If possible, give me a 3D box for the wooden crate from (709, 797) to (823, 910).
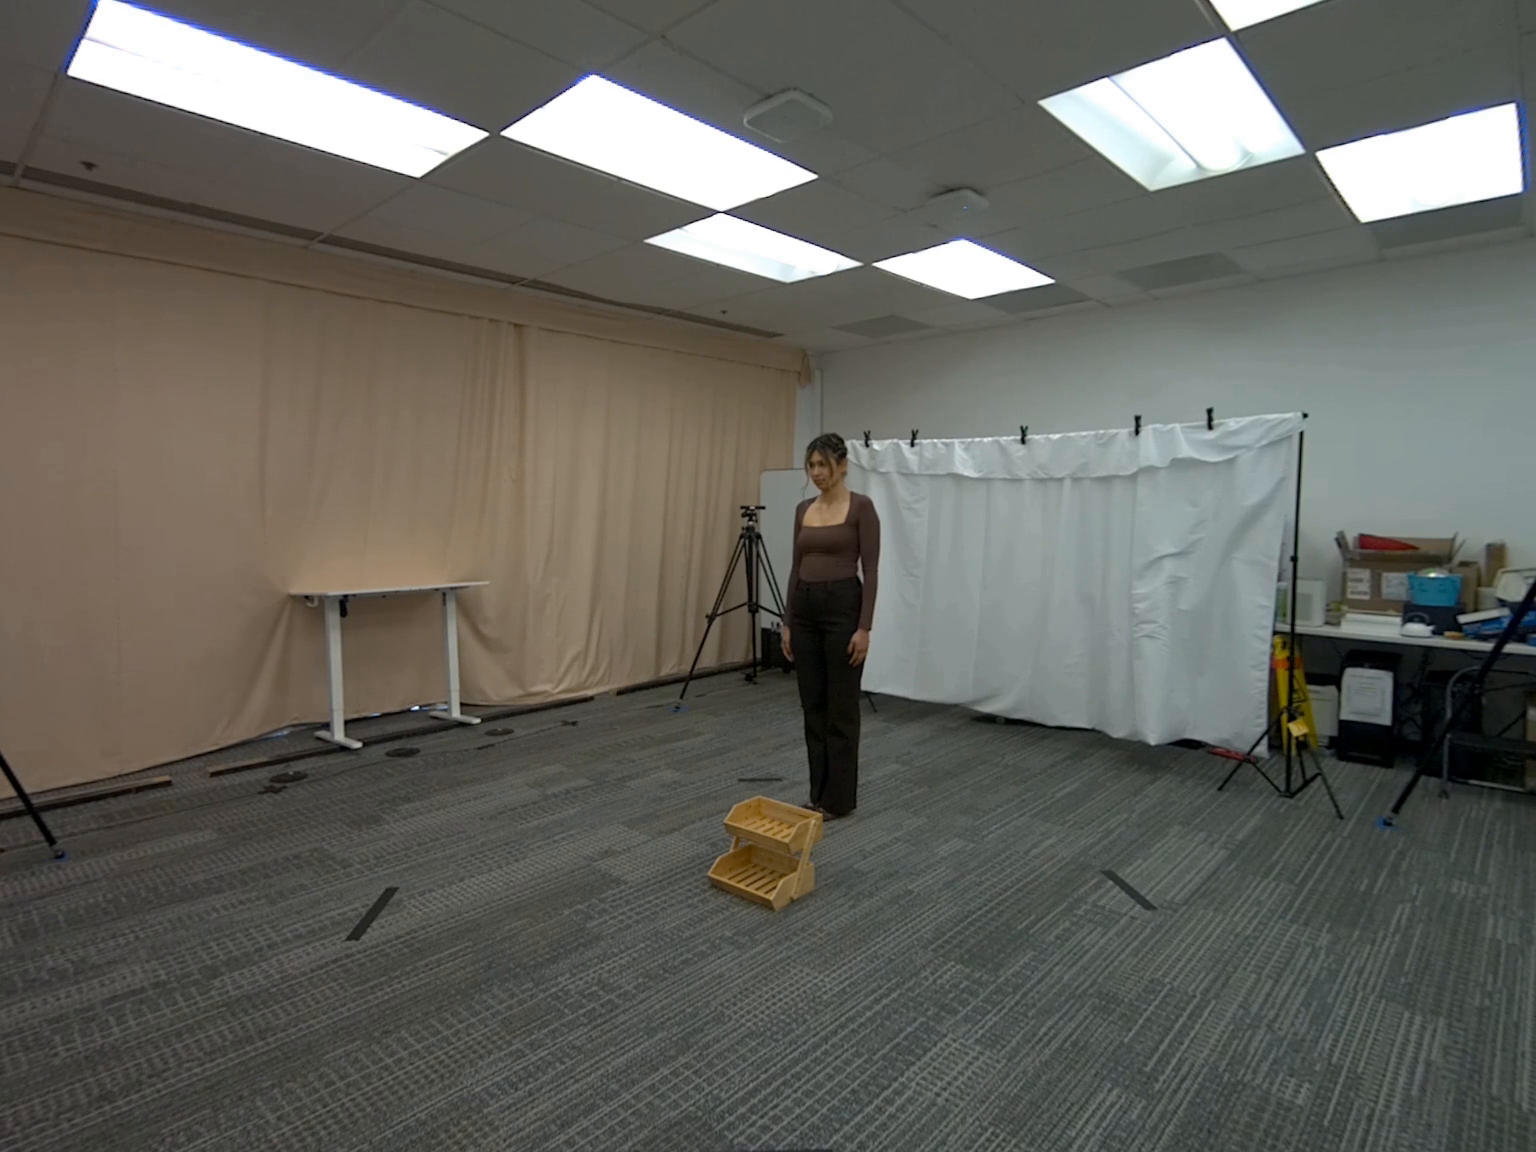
[{"bbox_3d":[-0.008,1.002,3.081,0.335,0.273,0.293,3,5,40],"label":"wooden crate"}]
